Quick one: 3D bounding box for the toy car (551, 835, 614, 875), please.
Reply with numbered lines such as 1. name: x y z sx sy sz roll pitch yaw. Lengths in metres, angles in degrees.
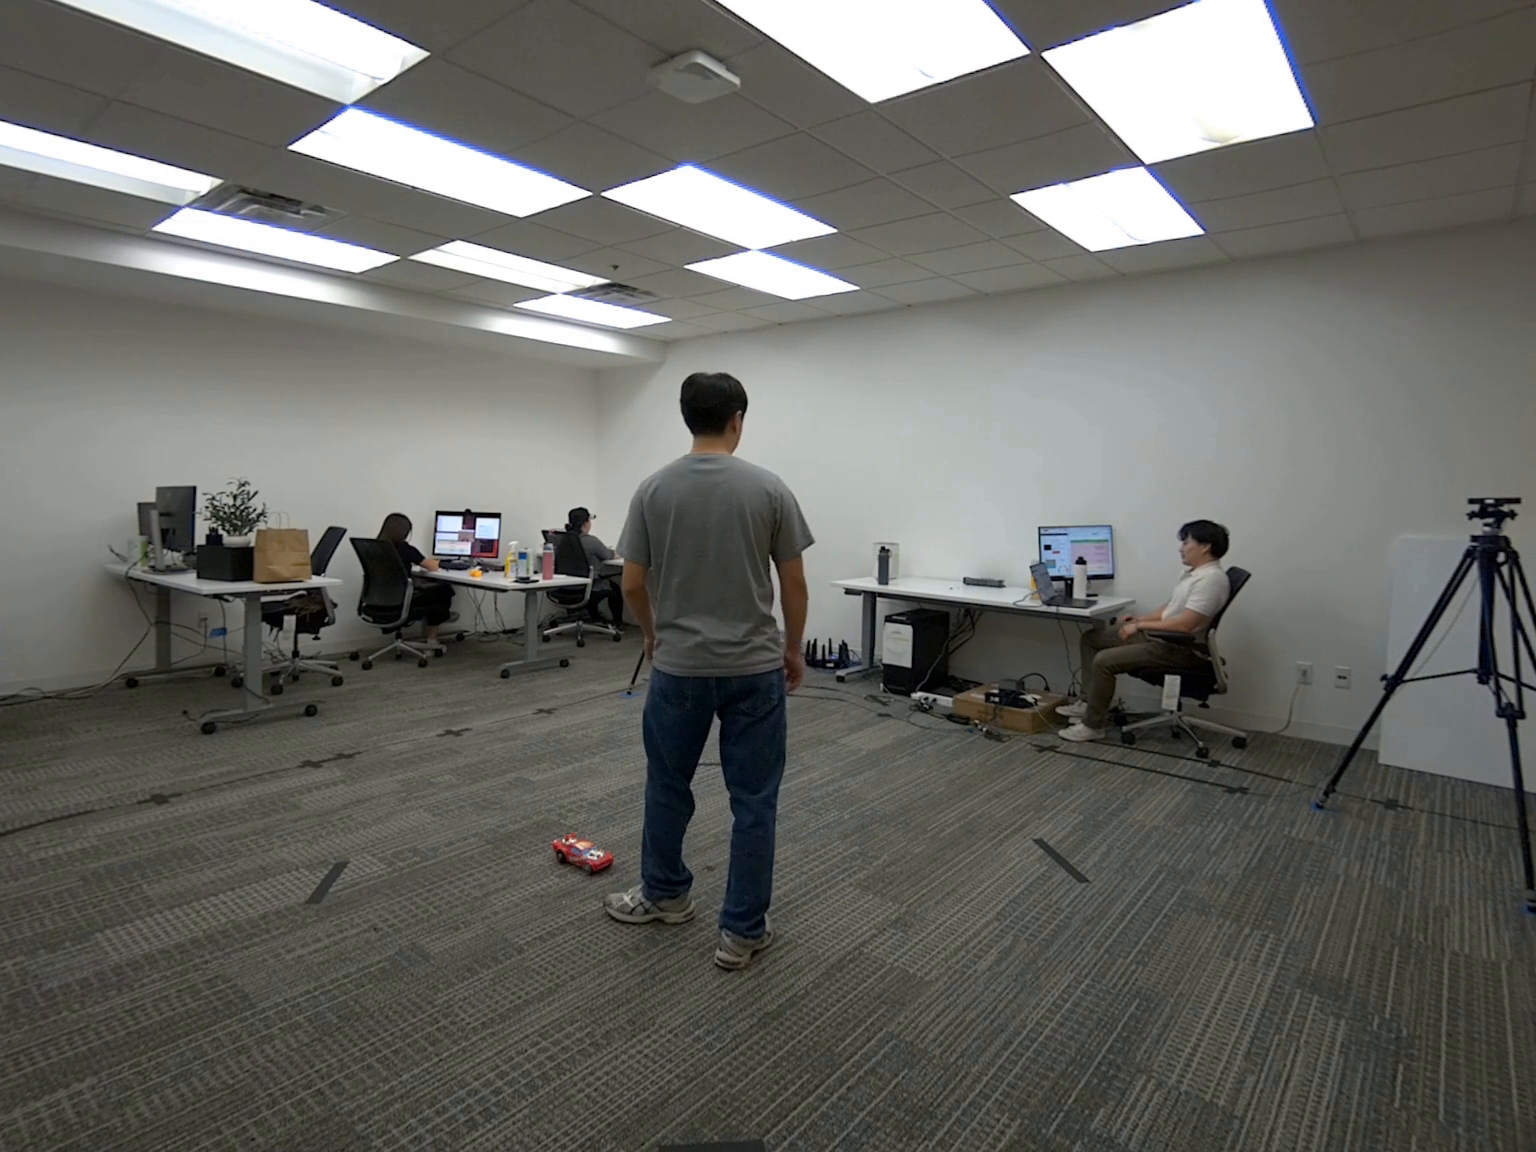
1. toy car: -0.703 1.022 3.137 0.264 0.082 0.126 18 14 37
